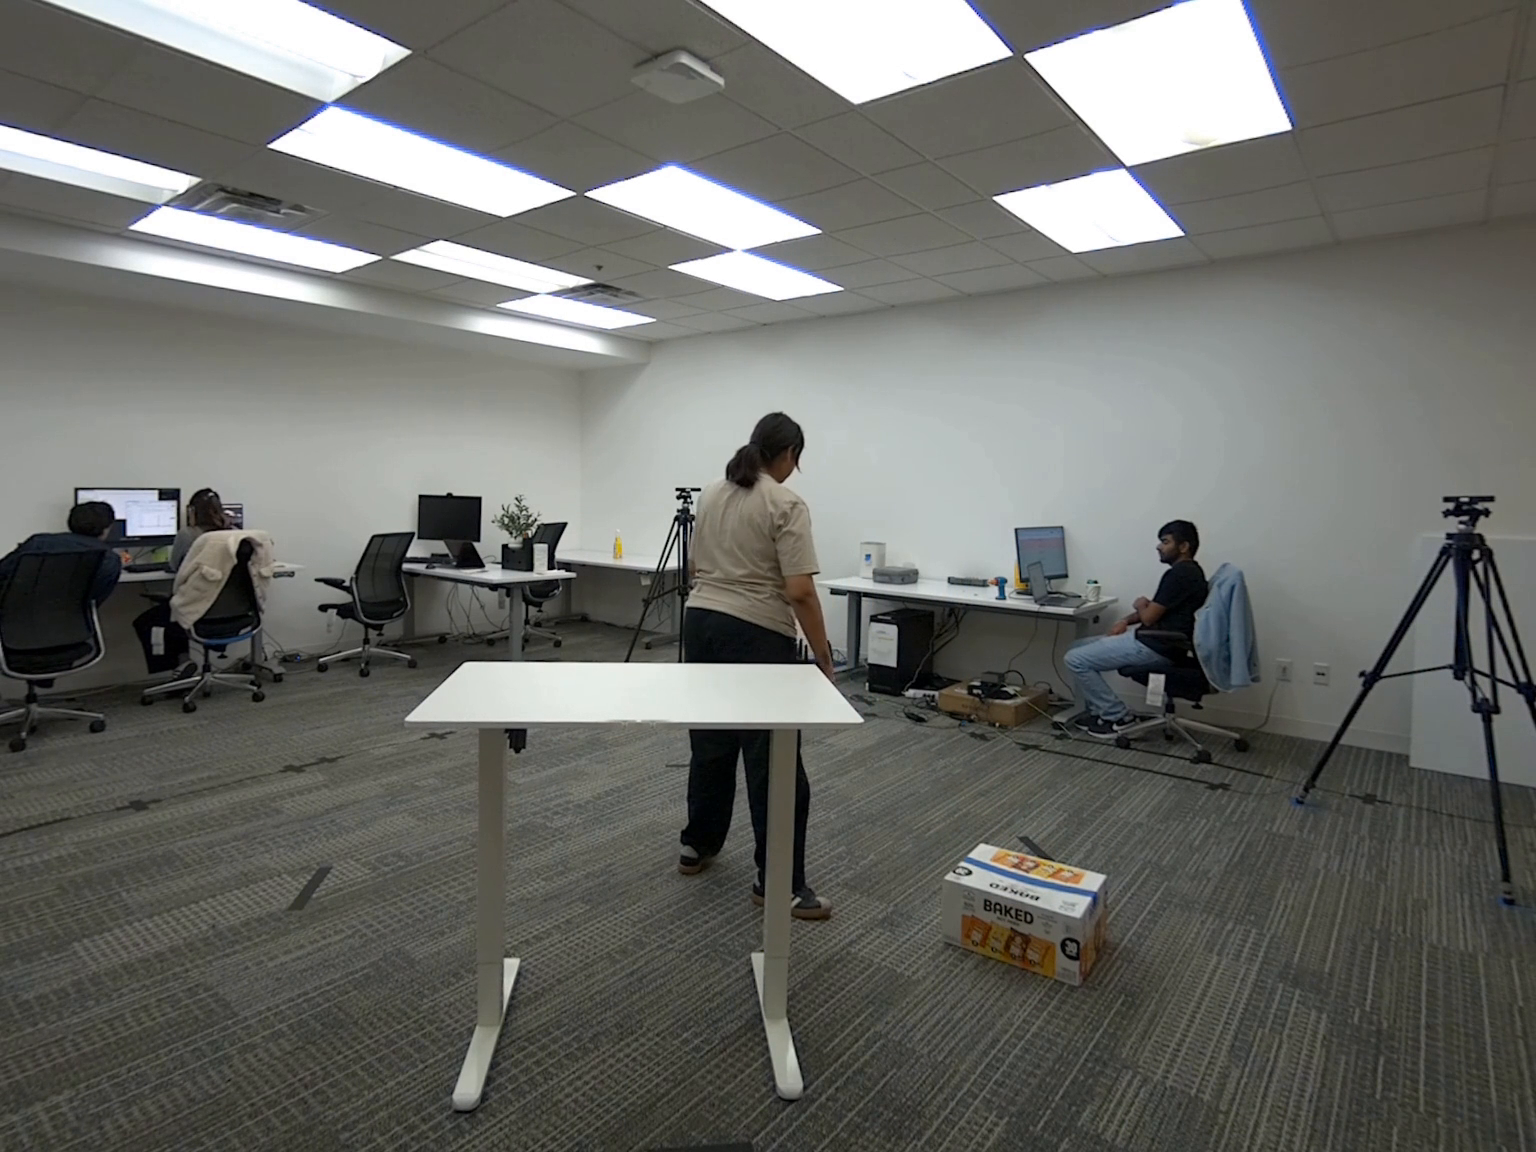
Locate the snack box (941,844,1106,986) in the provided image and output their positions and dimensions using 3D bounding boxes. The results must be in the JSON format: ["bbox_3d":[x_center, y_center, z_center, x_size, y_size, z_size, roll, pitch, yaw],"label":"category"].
[{"bbox_3d":[0.796,1.035,2.649,0.418,0.205,0.331,4,6,34],"label":"snack box"}]
